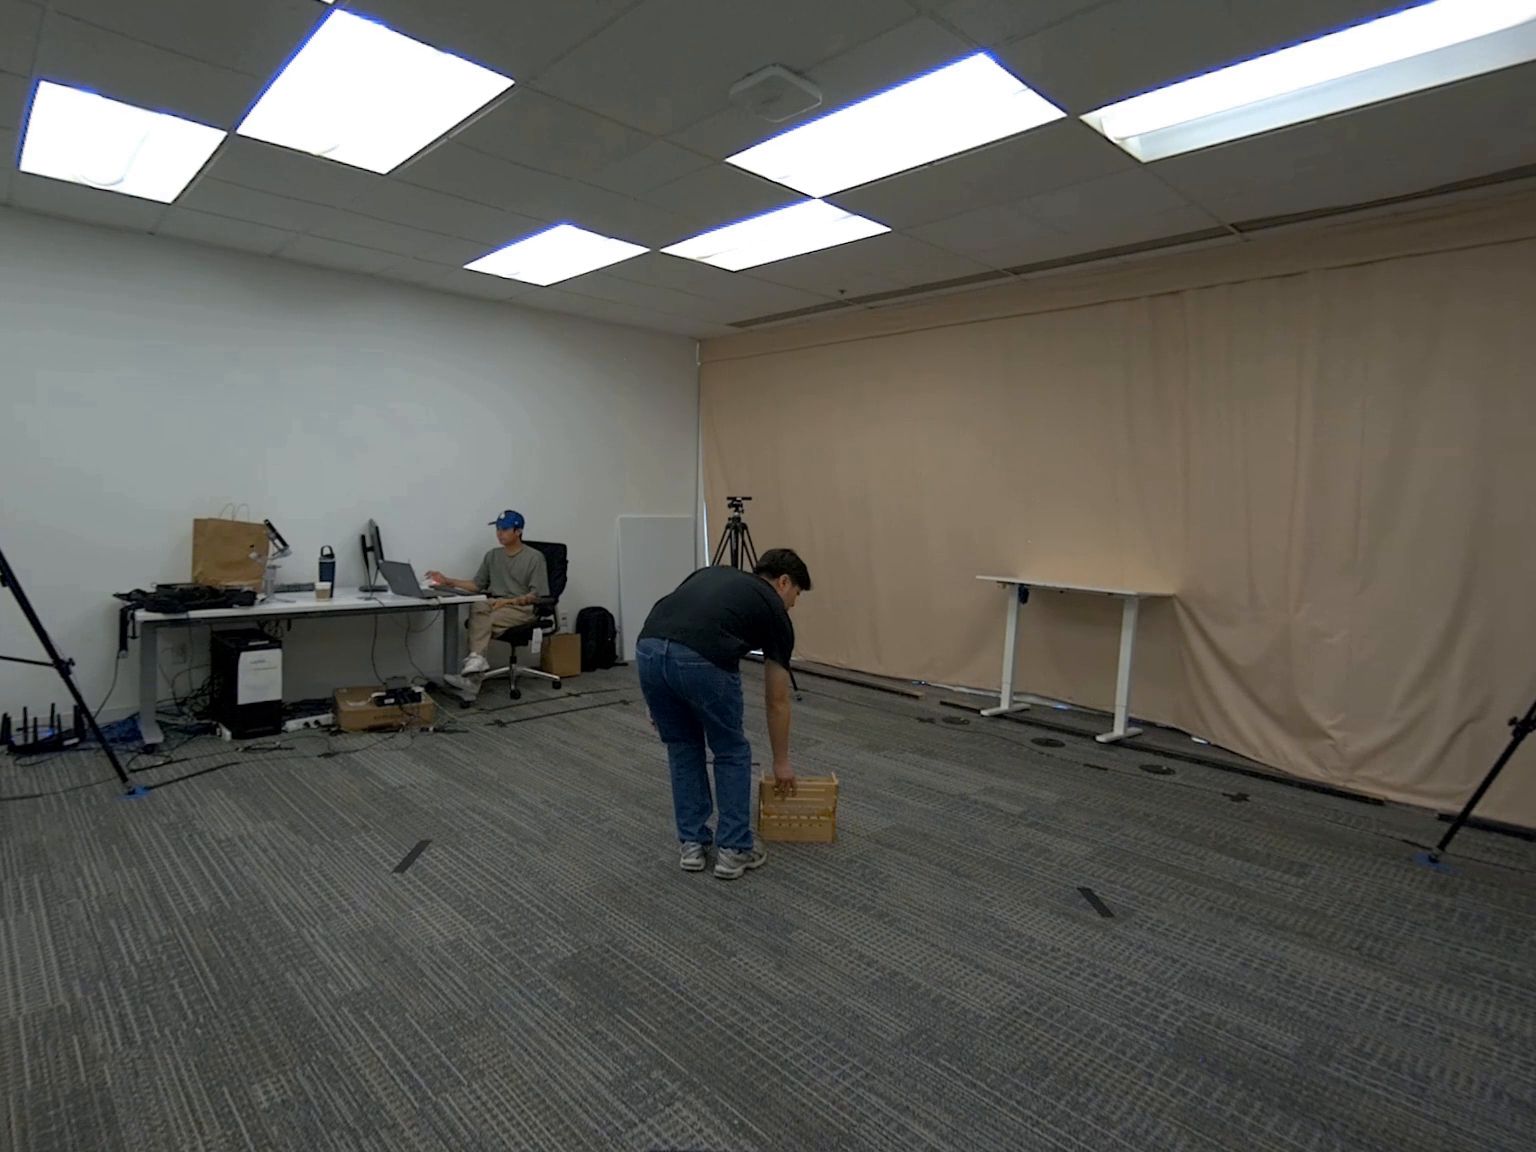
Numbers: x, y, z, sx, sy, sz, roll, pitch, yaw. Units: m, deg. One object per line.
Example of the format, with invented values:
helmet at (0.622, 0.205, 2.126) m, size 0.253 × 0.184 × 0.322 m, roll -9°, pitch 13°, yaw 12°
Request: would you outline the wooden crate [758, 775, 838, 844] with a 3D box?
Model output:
wooden crate at (0.121, 0.937, 3.534) m, size 0.324 × 0.273 × 0.303 m, roll 2°, pitch 3°, yaw -3°
